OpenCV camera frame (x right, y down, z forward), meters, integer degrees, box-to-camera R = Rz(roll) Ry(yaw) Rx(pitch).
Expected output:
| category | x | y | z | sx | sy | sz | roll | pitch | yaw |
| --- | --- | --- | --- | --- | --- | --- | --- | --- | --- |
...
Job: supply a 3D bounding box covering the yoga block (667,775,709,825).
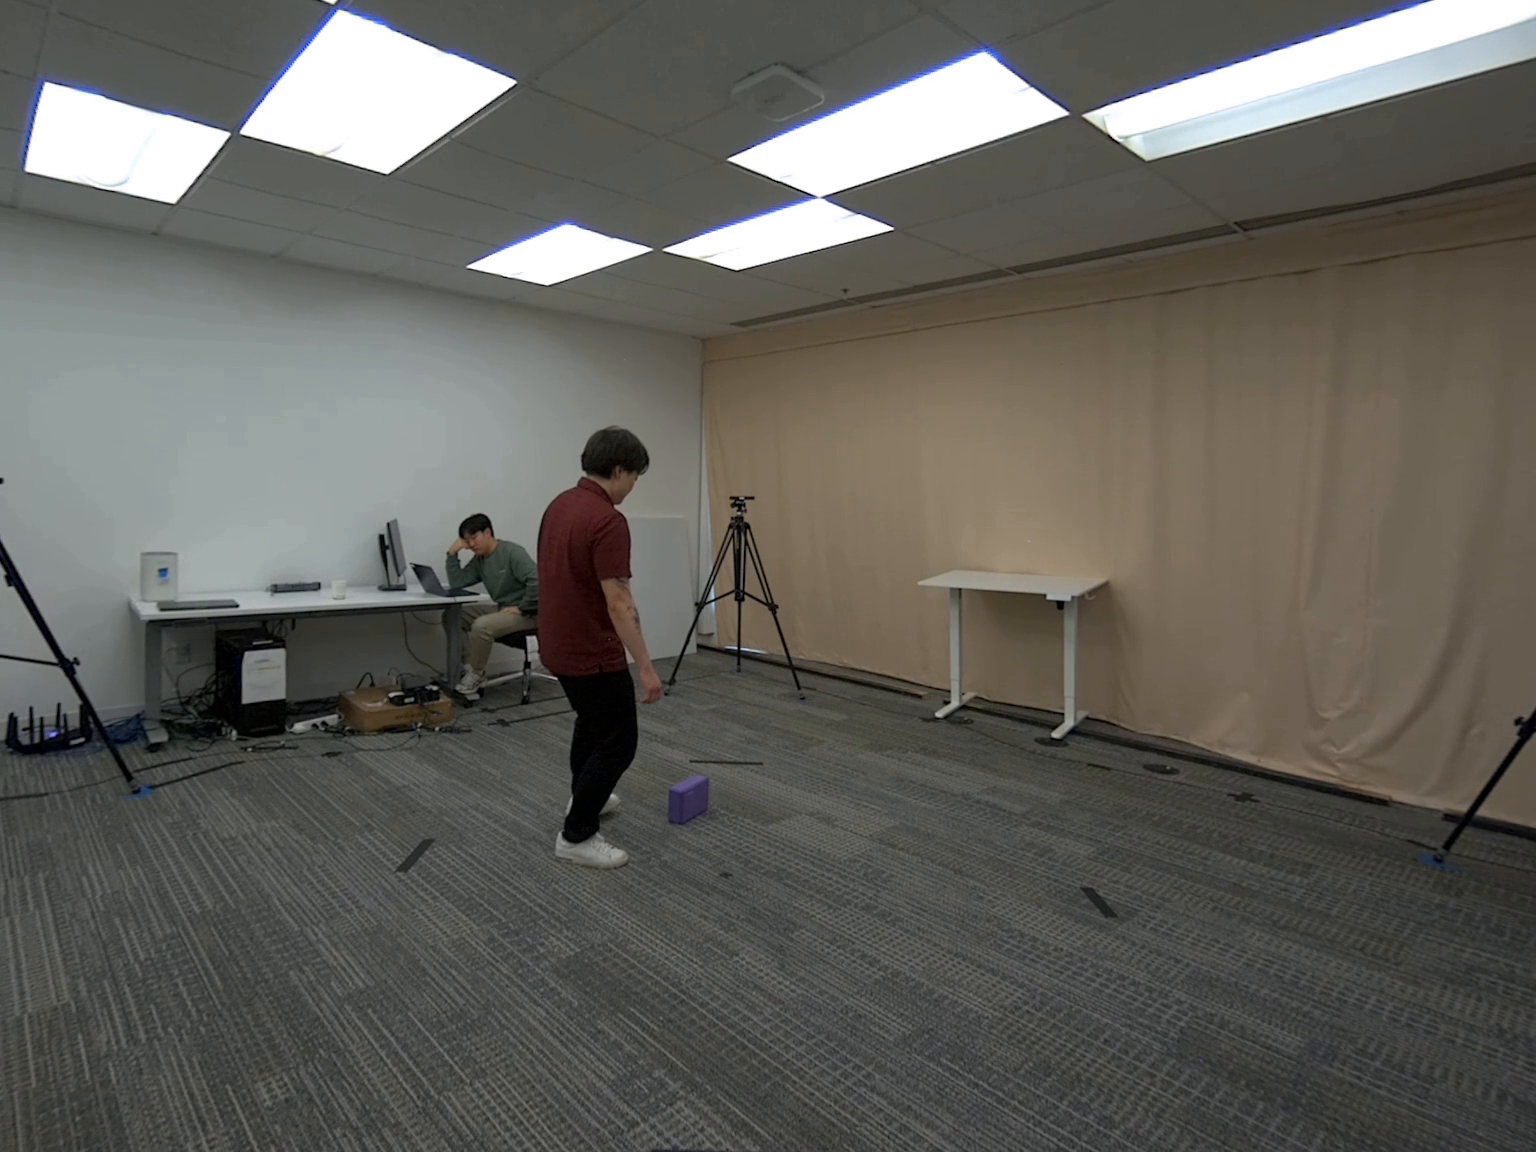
| category | x | y | z | sx | sy | sz | roll | pitch | yaw |
| --- | --- | --- | --- | --- | --- | --- | --- | --- | --- |
| yoga block | -0.357 | 0.976 | 3.684 | 0.078 | 0.148 | 0.225 | 4 | 5 | 27 |
